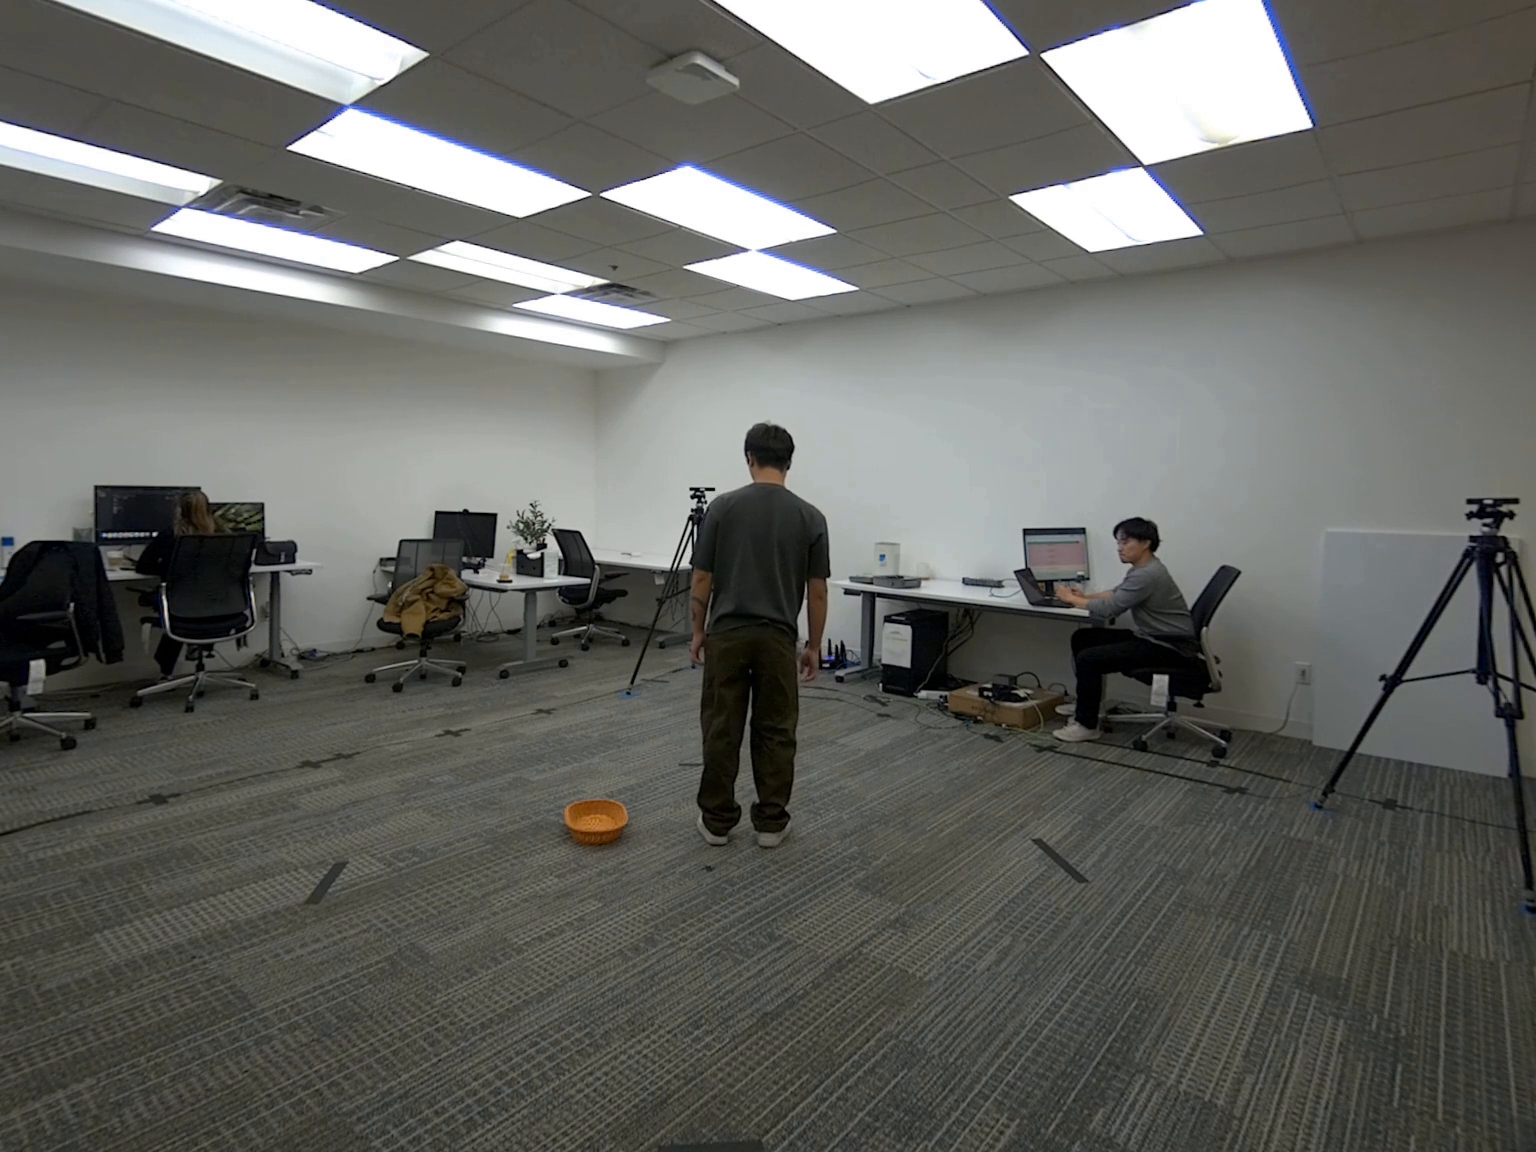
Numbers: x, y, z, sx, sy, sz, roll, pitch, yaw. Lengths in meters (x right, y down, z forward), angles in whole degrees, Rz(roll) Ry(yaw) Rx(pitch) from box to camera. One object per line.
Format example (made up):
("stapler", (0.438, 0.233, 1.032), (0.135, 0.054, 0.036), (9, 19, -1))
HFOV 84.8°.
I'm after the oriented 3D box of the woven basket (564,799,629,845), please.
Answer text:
("woven basket", (-0.705, 0.992, 3.434), (0.250, 0.073, 0.356), (0, 6, -11))
